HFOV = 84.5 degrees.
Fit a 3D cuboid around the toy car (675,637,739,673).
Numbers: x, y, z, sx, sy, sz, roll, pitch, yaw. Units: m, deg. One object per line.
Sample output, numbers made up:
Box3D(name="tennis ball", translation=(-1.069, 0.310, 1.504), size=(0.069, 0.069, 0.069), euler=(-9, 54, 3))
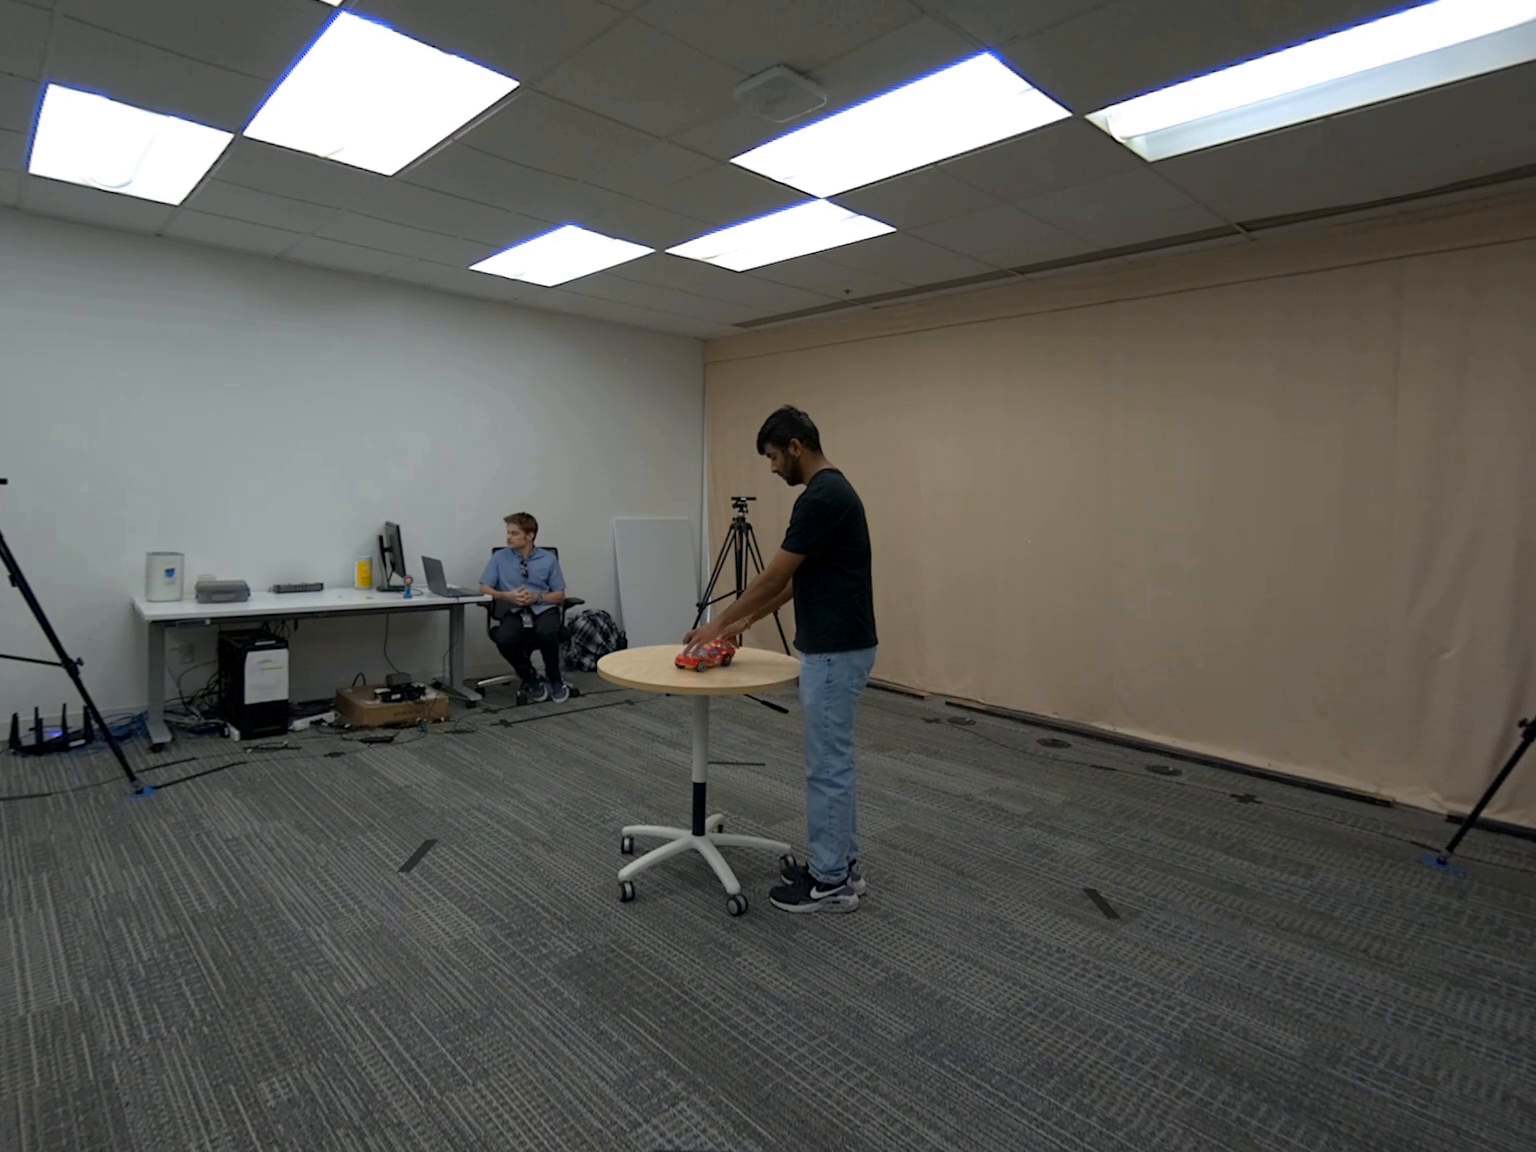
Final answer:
Box3D(name="toy car", translation=(-0.222, 0.295, 3.051), size=(0.133, 0.082, 0.251), euler=(5, 18, 37))
